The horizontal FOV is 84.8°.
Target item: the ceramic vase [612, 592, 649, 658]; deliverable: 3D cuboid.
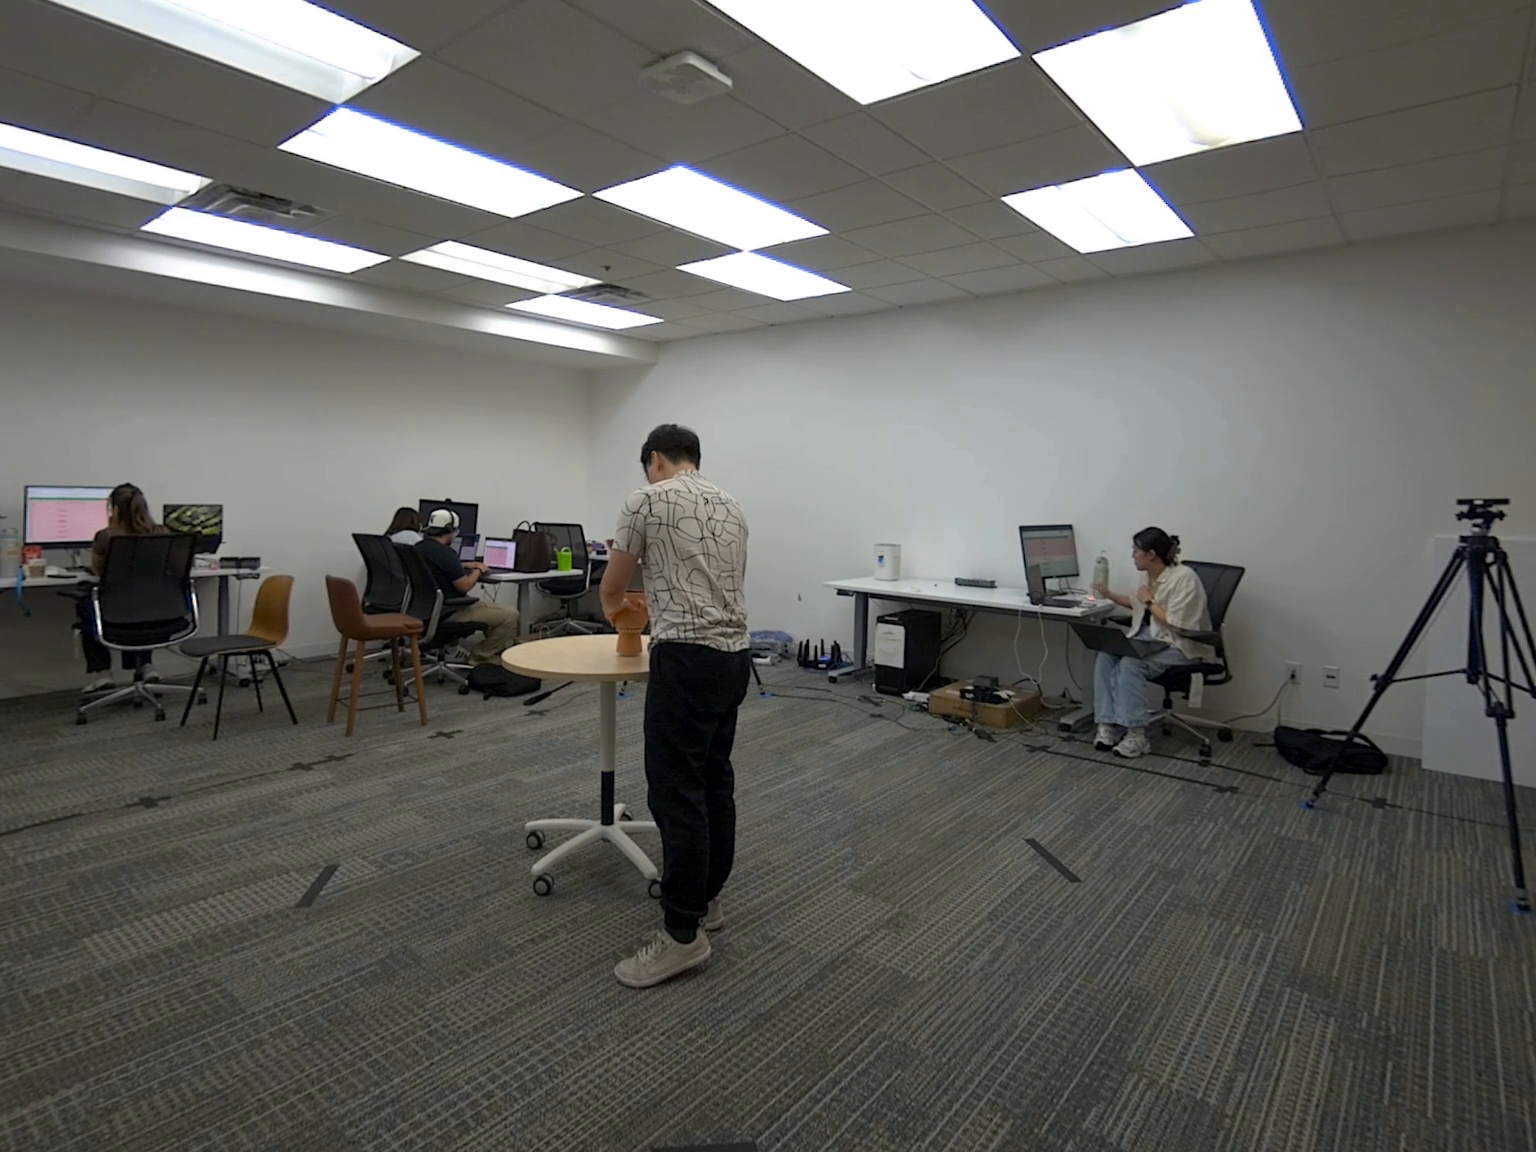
[{"bbox_3d":[-0.516,0.164,3.079,0.135,0.219,0.159,4,2,1],"label":"ceramic vase"}]
